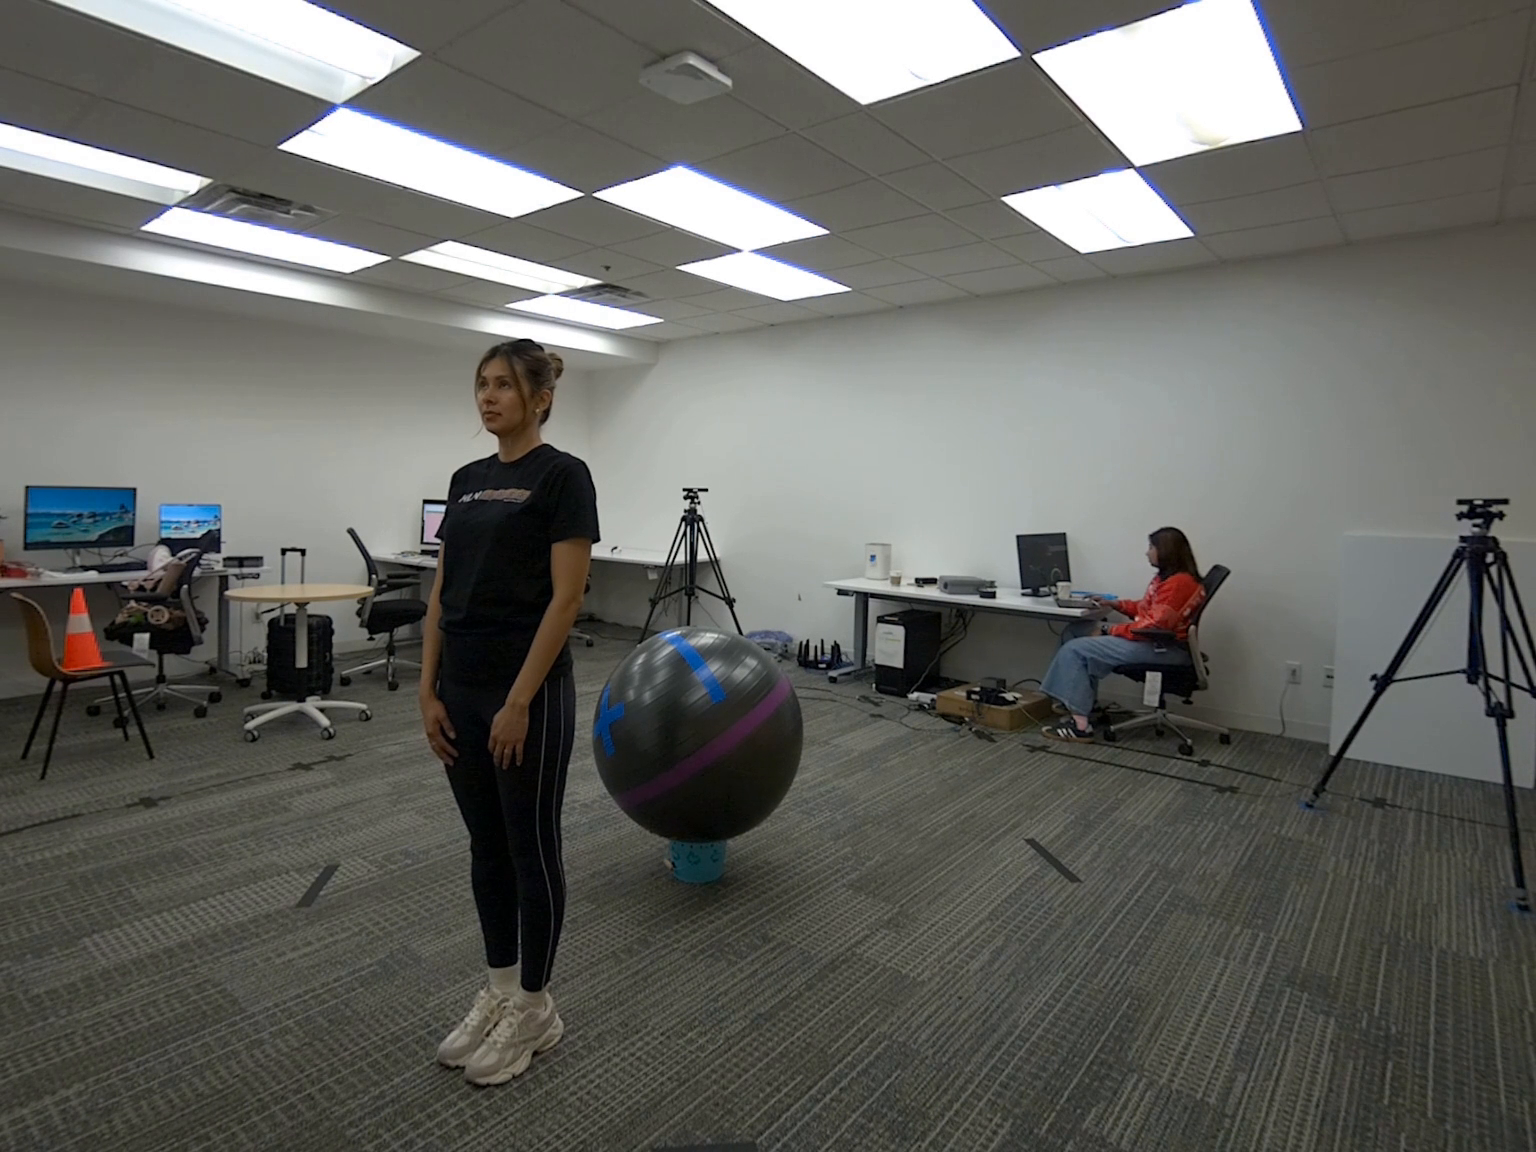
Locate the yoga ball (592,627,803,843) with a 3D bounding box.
[{"bbox_3d":[-0.264,0.563,3.068,0.757,0.755,0.762,1,4,-2],"label":"yoga ball"}]
